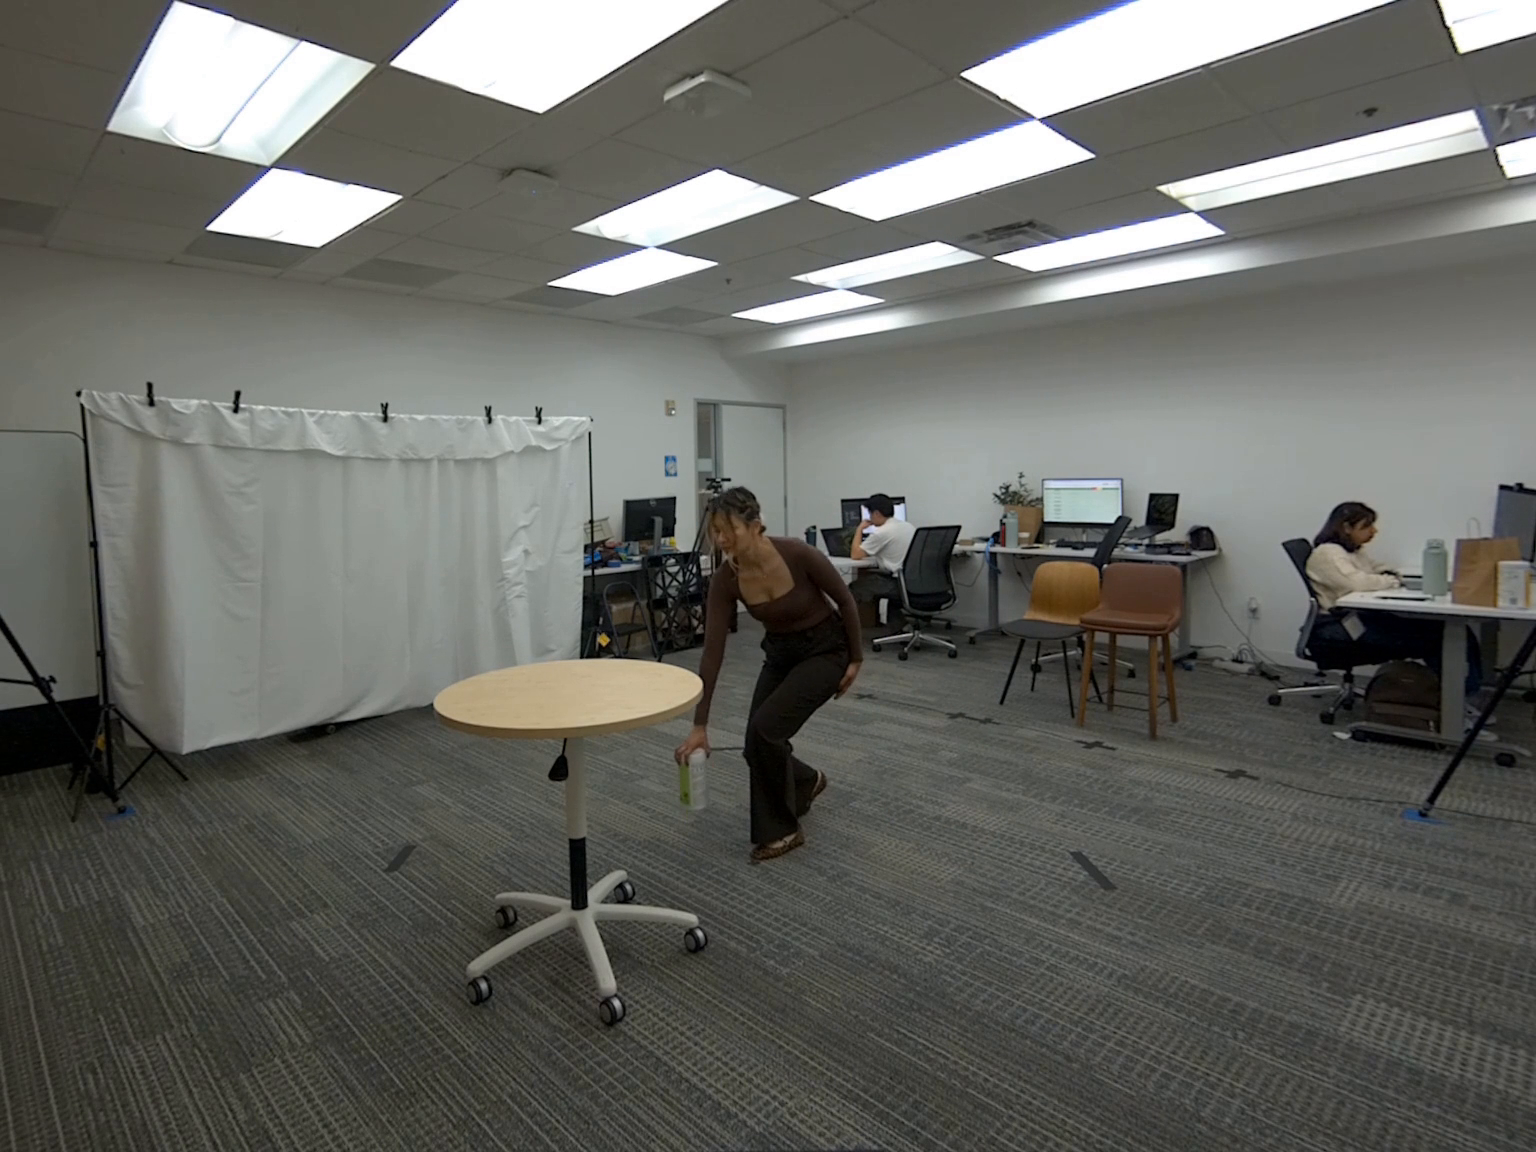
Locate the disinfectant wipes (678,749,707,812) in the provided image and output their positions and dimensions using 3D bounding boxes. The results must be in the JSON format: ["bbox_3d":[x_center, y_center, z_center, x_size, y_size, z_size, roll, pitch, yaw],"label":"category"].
[{"bbox_3d":[-0.274,0.756,3.208,0.118,0.216,0.118,-3,5,-1],"label":"disinfectant wipes"}]
